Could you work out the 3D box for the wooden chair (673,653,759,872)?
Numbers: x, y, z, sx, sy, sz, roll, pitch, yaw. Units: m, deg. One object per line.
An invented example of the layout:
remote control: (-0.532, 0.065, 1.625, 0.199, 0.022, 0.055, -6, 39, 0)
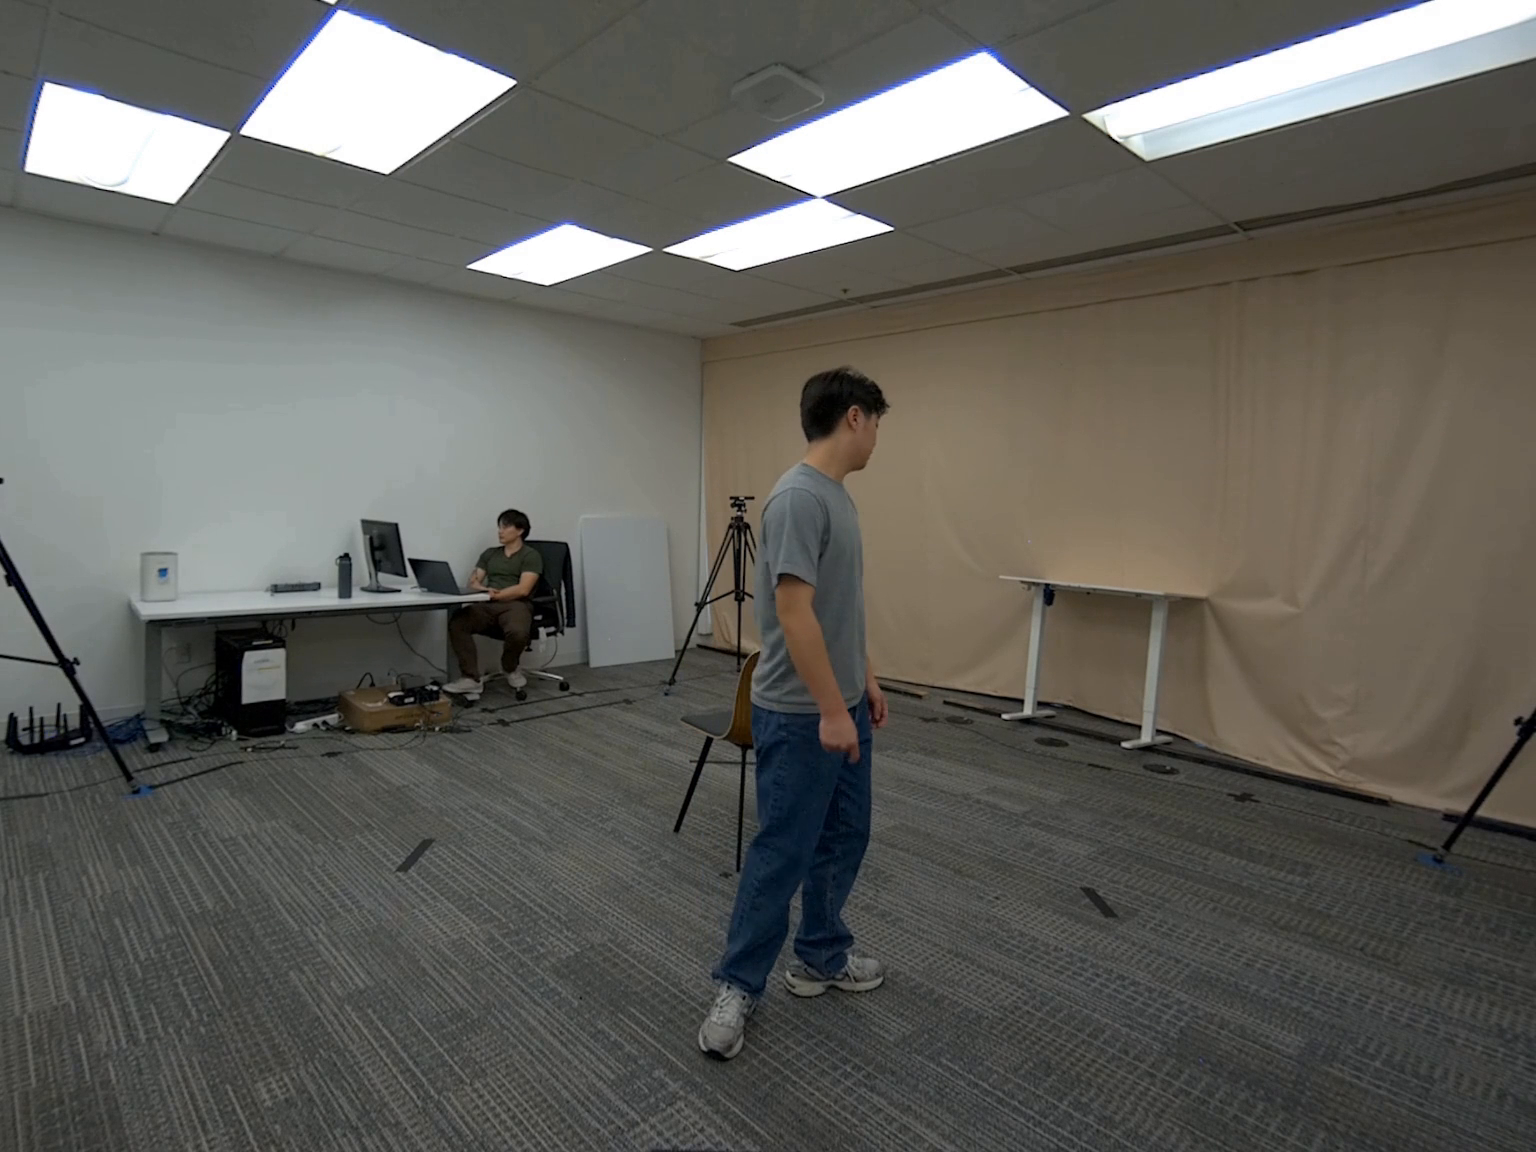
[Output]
wooden chair: (-0.076, 0.652, 3.418, 0.467, 0.873, 0.537, -1, 8, -37)
